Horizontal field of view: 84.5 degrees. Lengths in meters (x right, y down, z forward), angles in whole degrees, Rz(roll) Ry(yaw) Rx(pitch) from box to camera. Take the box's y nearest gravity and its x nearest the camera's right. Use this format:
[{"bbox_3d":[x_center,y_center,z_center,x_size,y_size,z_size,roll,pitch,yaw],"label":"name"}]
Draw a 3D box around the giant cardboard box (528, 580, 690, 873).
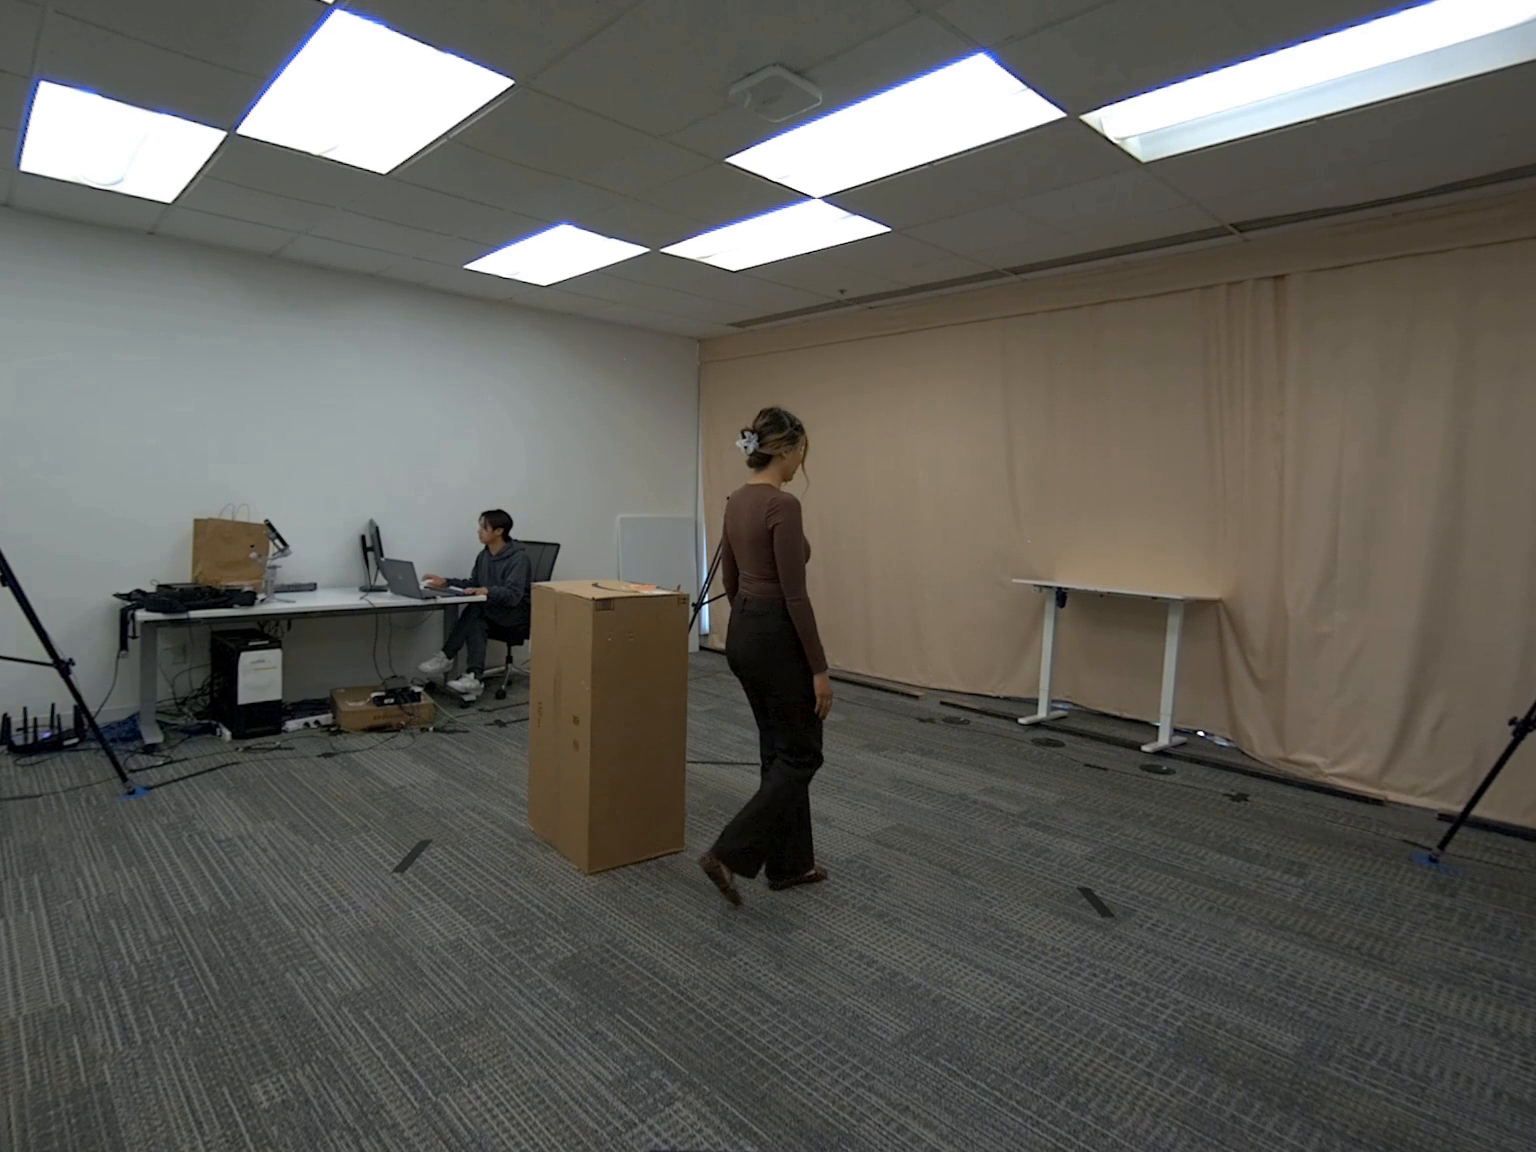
[{"bbox_3d":[-0.663,0.558,3.408,0.437,1.025,0.598,0,4,-36],"label":"giant cardboard box"}]
